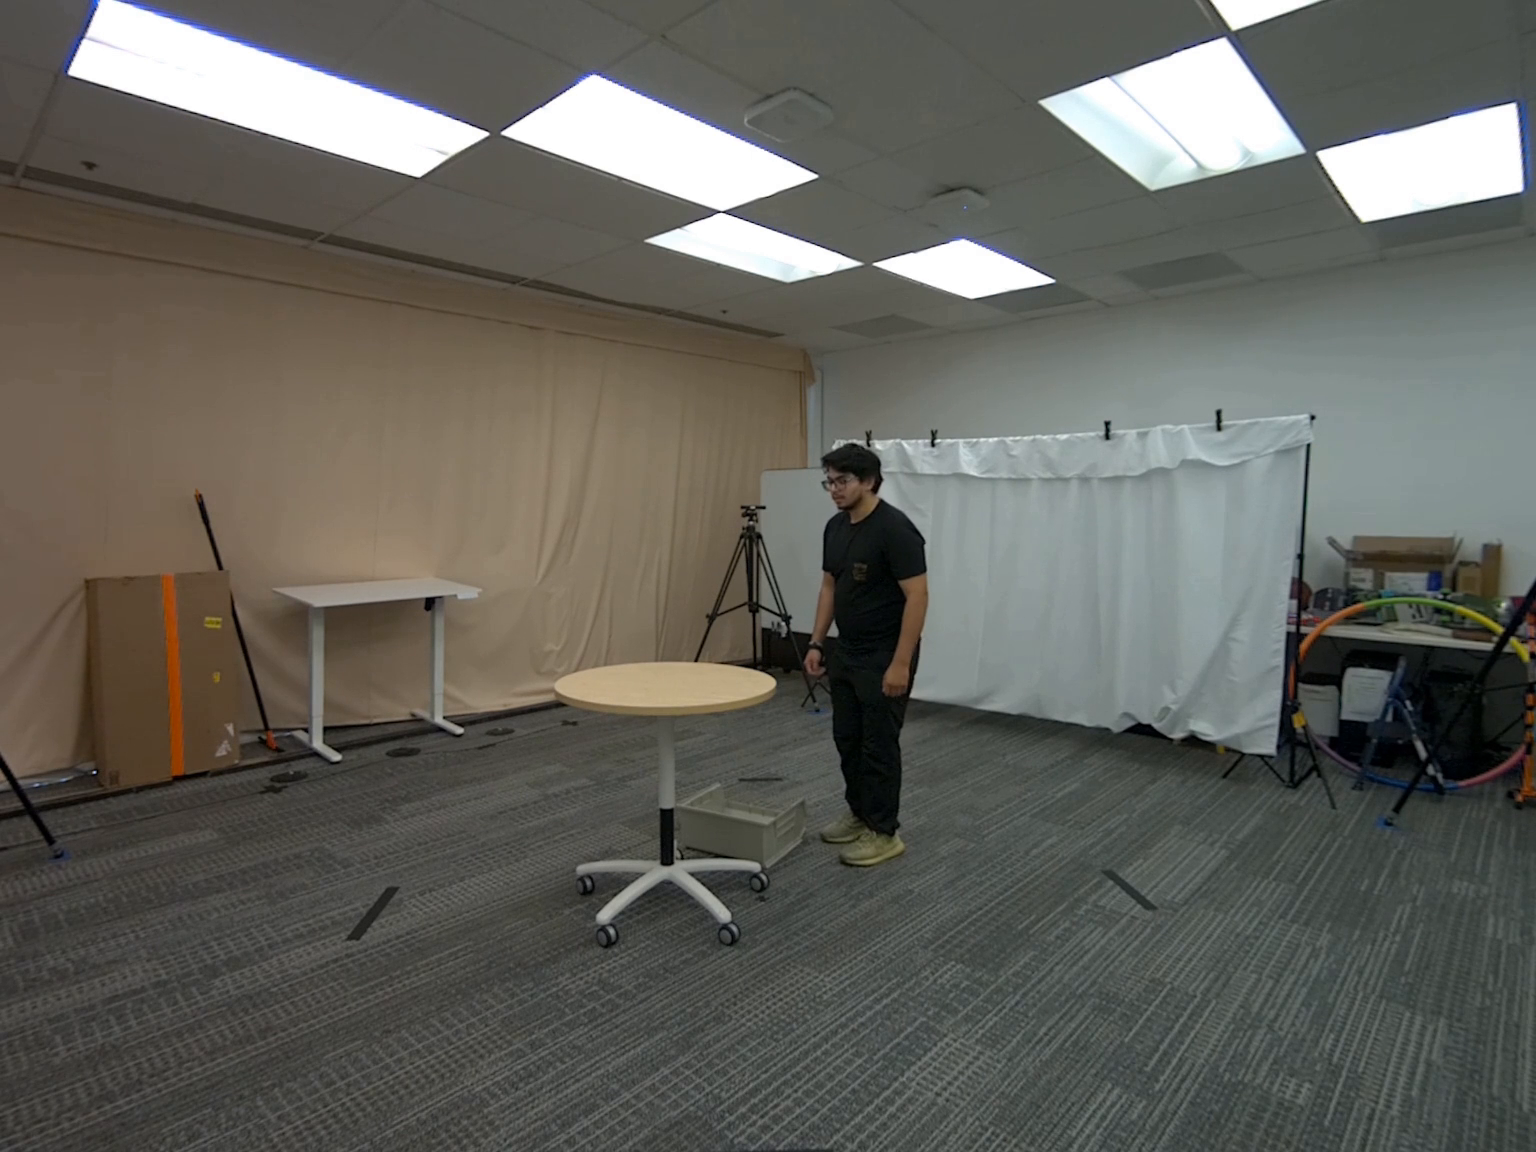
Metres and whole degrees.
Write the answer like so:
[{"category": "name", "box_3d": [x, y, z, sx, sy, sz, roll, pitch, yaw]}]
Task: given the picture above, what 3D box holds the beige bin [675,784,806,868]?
[{"category": "beige bin", "box_3d": [-0.102, 1.017, 3.479, 0.434, 0.188, 0.368, 3, 6, 29]}]
